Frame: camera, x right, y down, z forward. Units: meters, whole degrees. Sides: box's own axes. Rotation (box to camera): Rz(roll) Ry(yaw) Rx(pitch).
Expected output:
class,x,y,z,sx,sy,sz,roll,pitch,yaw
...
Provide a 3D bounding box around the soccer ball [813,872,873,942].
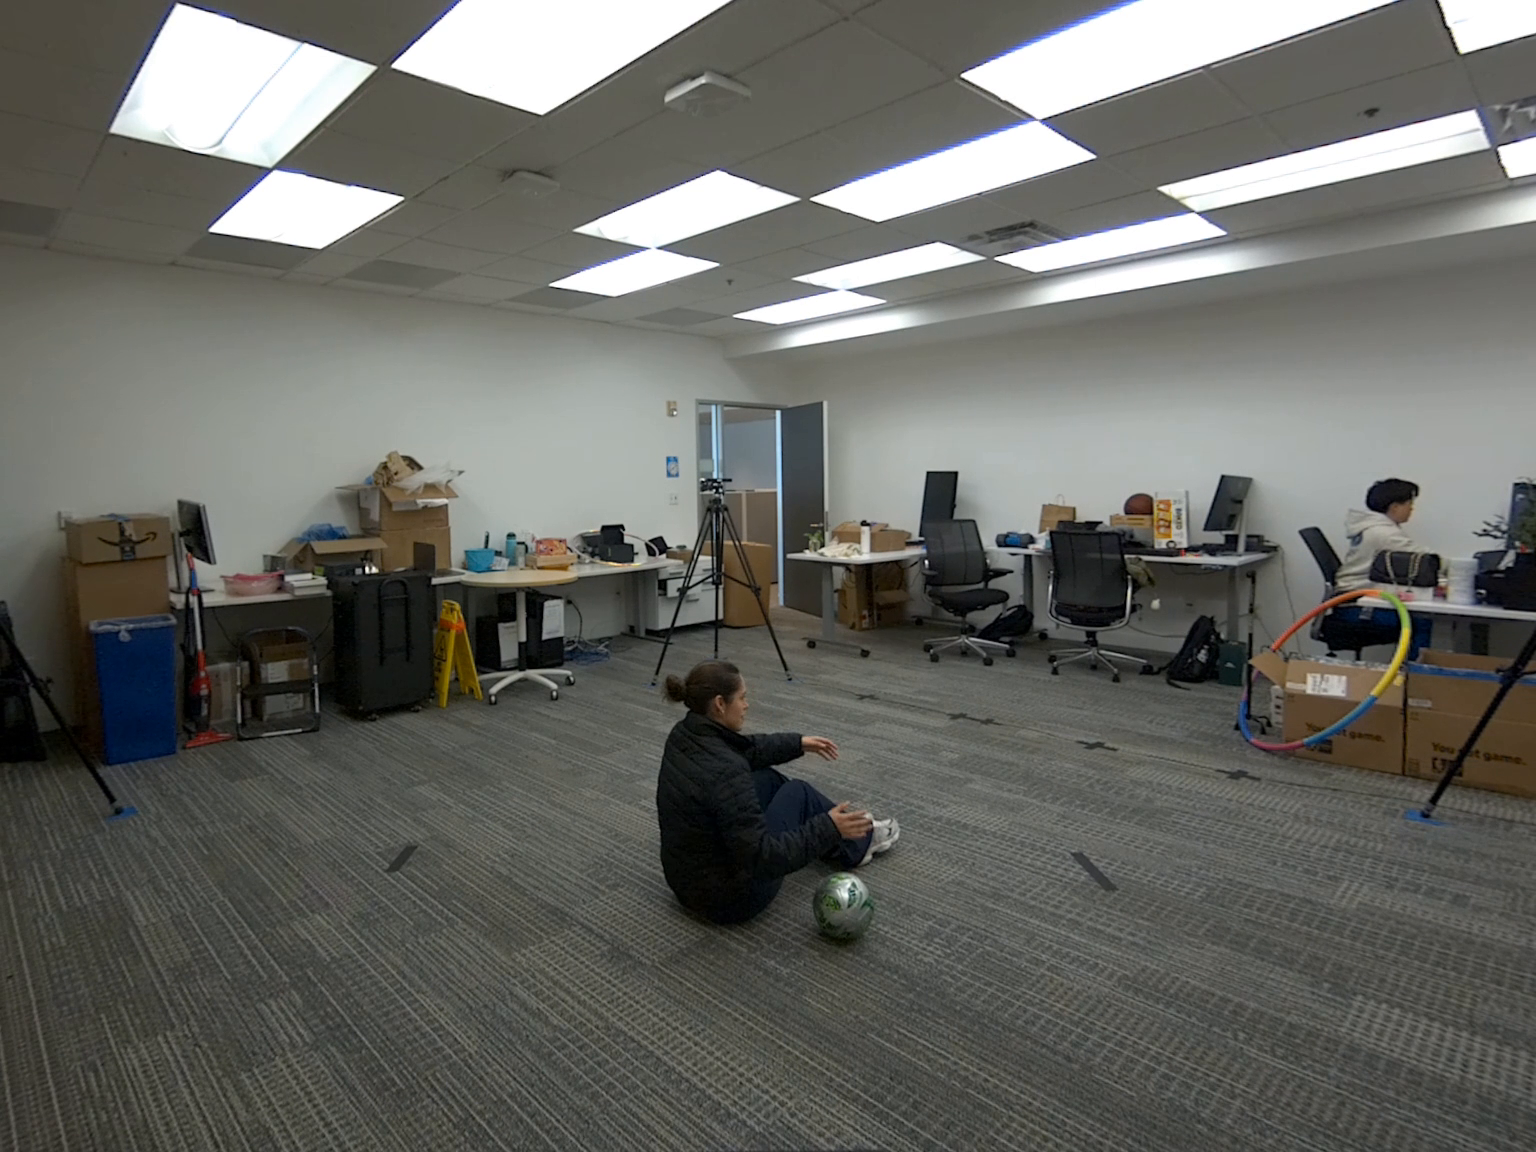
class,x,y,z,sx,sy,sz,roll,pitch,yaw
soccer ball,0.220,0.999,2.600,0.187,0.187,0.188,0,1,-2
